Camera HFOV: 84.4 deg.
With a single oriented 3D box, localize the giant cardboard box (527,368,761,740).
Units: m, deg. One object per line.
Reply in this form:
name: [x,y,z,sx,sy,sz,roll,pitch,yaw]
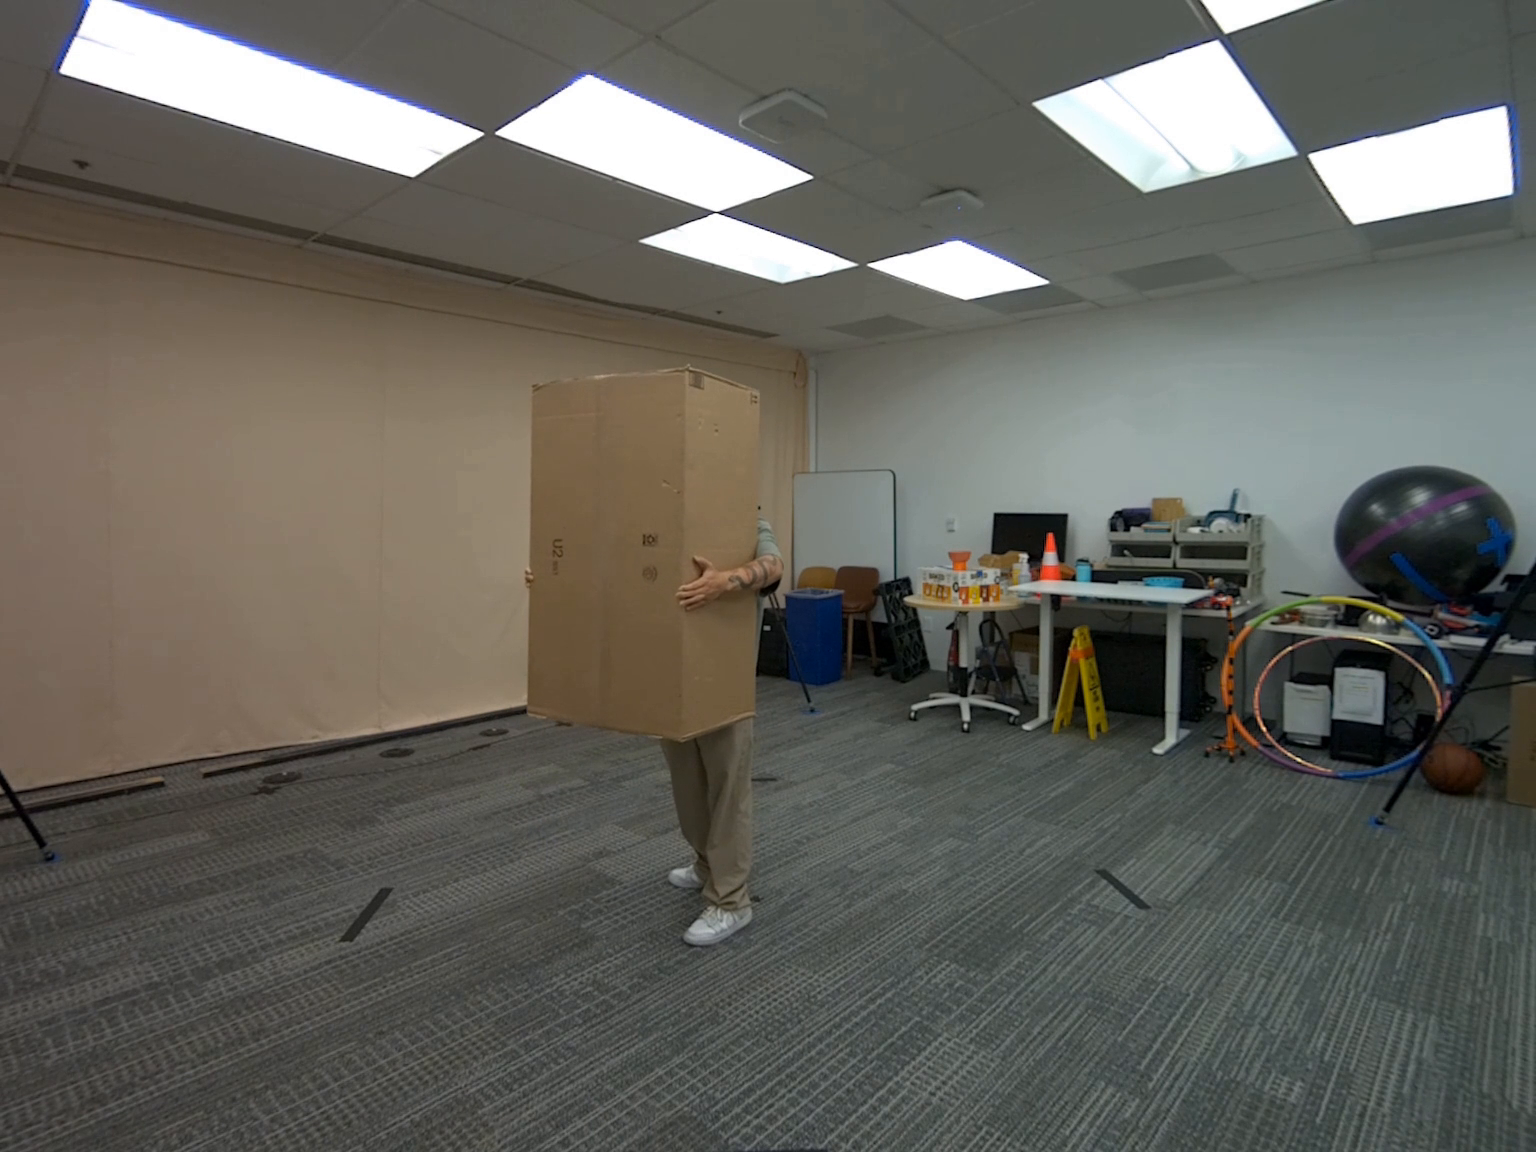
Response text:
giant cardboard box: [-0.382,-0.074,2.611,0.594,1.025,0.414,1,1,31]
